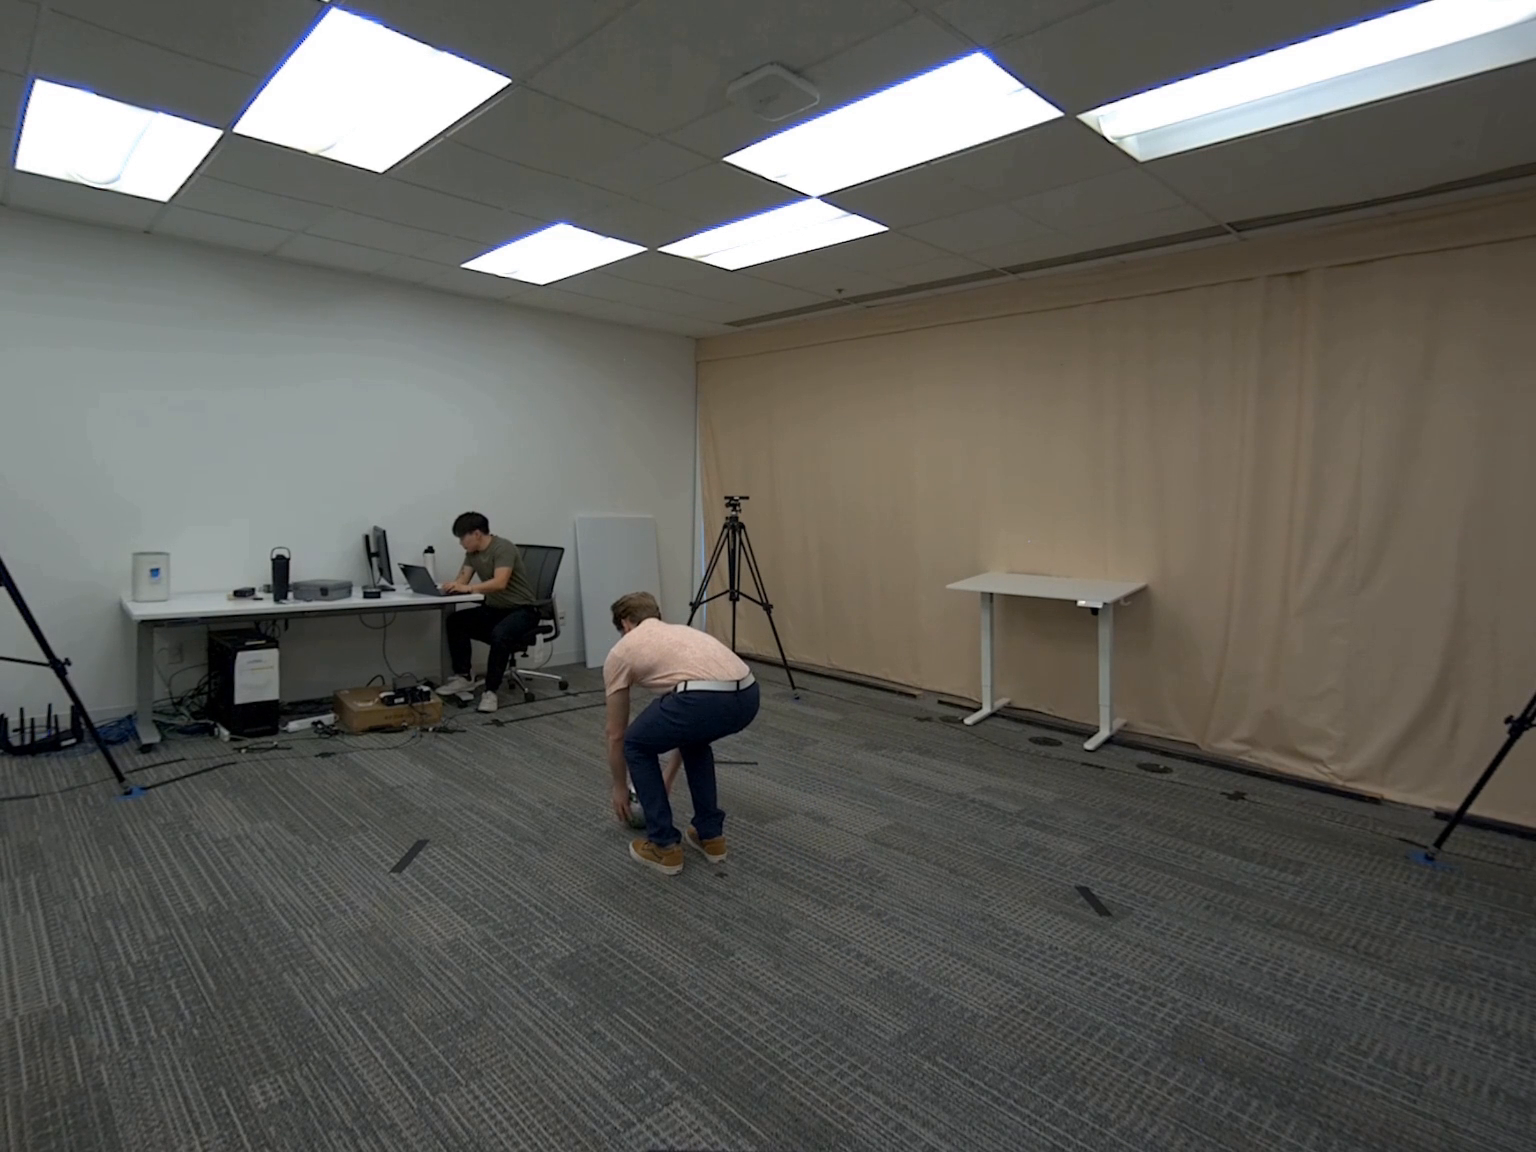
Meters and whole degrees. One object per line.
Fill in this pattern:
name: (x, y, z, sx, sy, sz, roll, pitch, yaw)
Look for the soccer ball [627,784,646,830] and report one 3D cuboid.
soccer ball: (-0.545, 0.962, 3.543, 0.187, 0.187, 0.188, 1, 4, -1)
